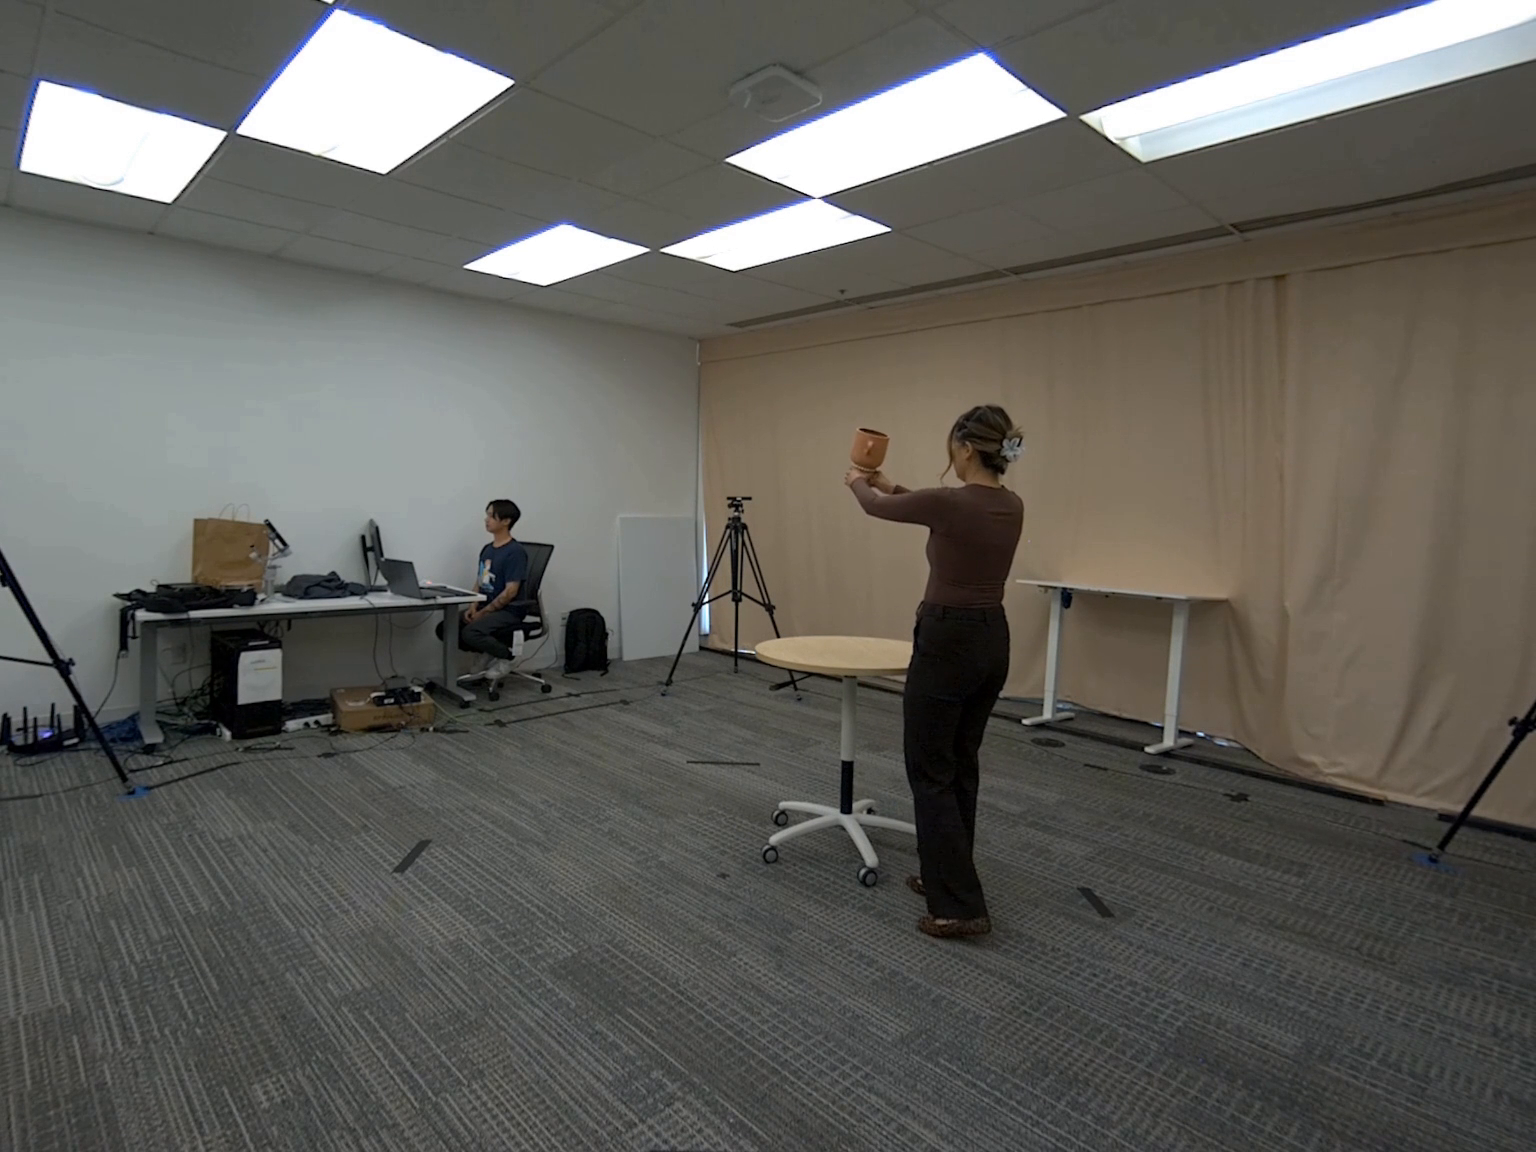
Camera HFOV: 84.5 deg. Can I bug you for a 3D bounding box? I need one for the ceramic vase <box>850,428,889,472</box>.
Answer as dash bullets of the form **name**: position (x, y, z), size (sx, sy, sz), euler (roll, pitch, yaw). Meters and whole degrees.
- **ceramic vase**: position (0.368, -0.451, 3.264), size (0.155, 0.217, 0.139), euler (-6, 26, -43)
